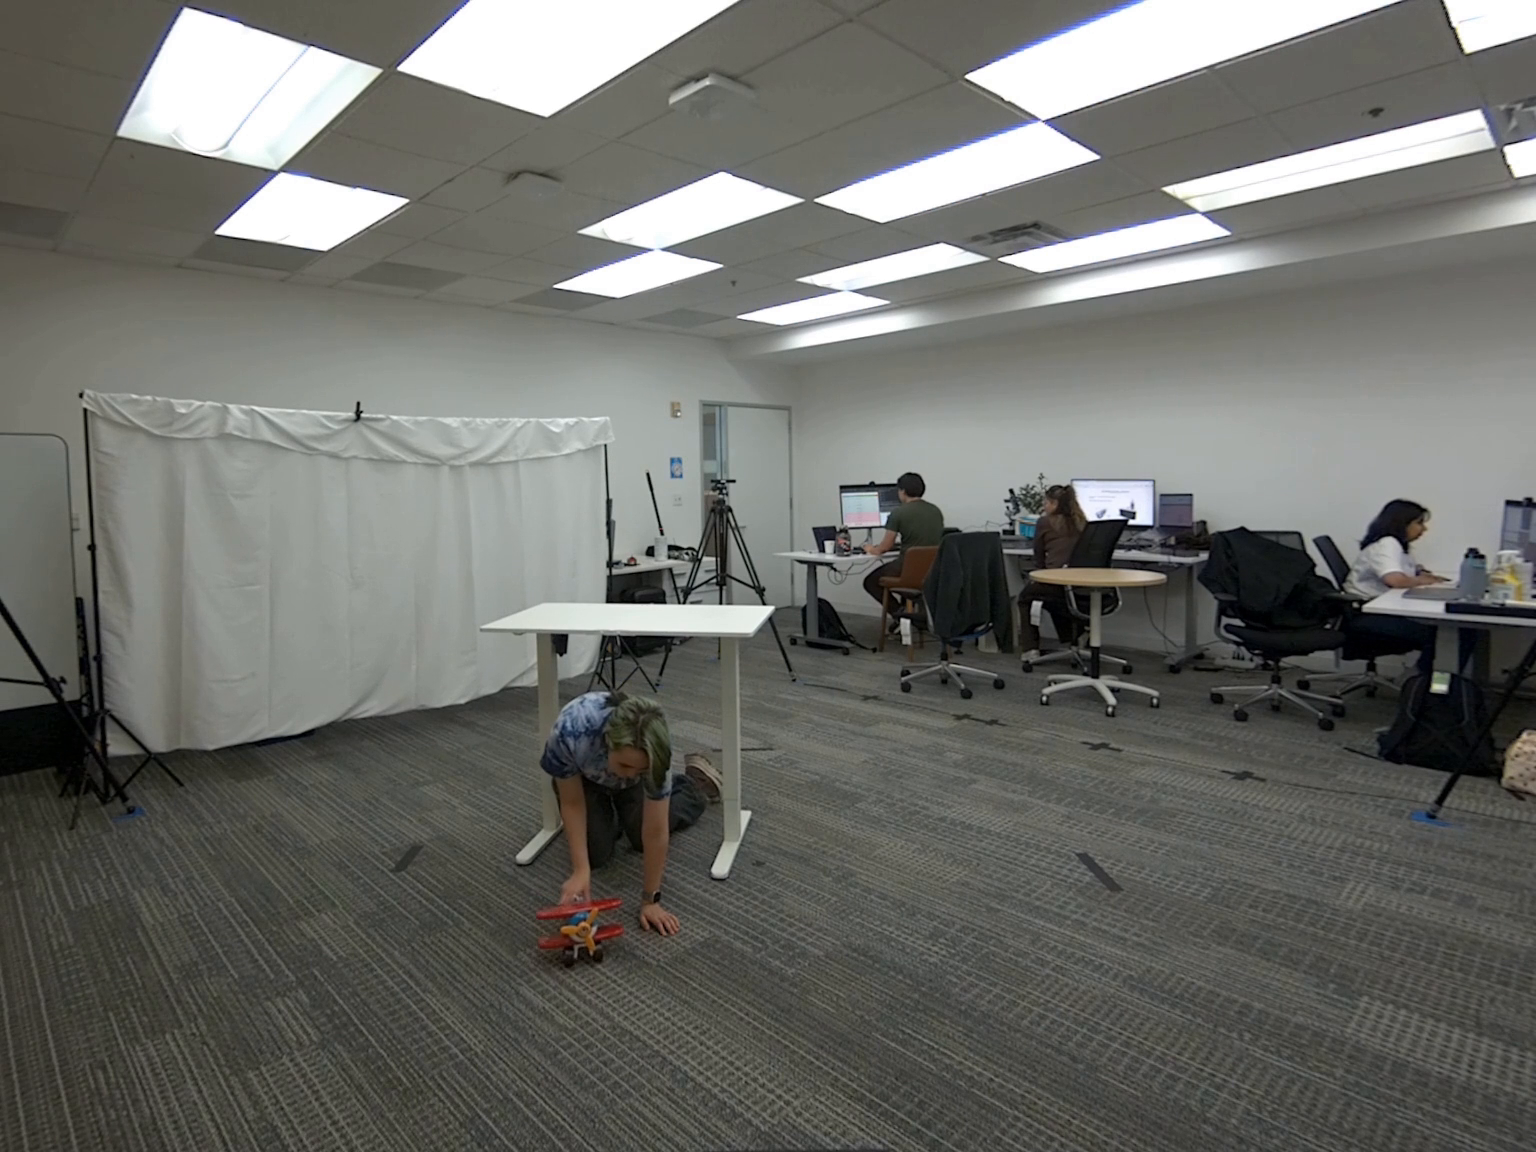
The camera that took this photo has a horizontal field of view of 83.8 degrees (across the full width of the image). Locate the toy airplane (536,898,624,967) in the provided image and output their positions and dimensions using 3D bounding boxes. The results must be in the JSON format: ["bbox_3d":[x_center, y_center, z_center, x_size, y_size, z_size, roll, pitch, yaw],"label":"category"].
[{"bbox_3d":[-0.583,1.056,2.562,0.267,0.155,0.245,6,11,43],"label":"toy airplane"}]
